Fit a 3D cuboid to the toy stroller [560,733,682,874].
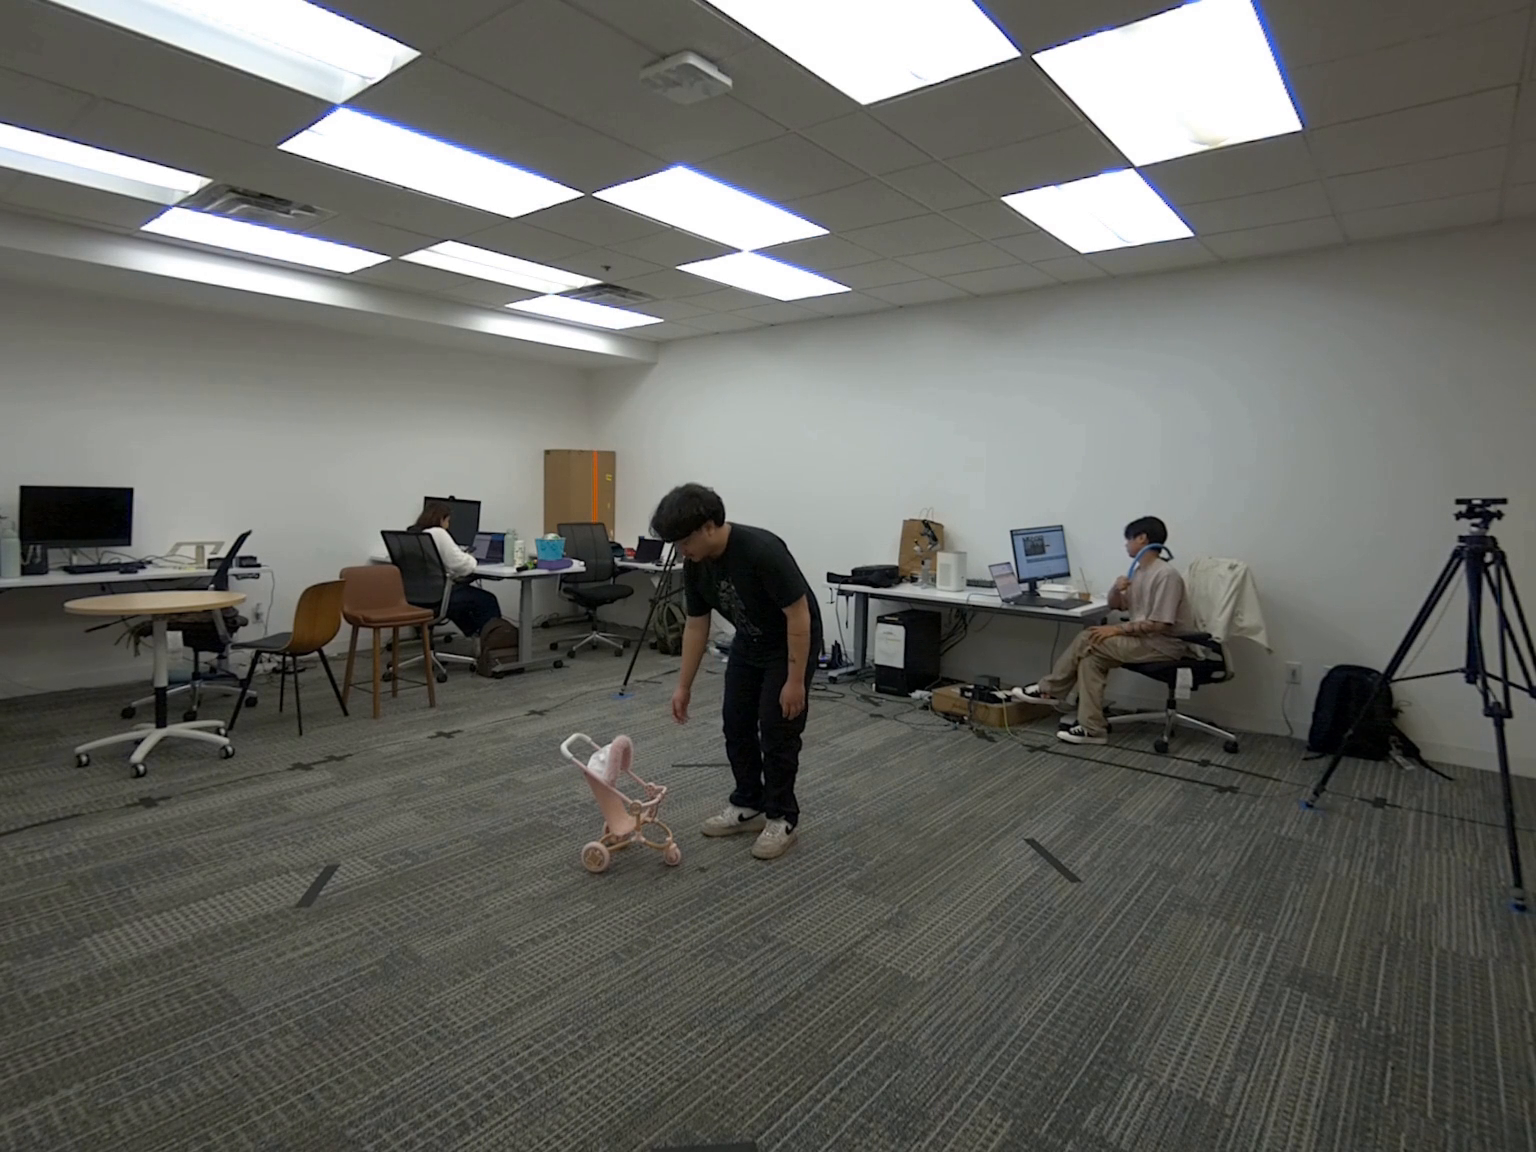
[{"bbox_3d":[-0.547,0.834,3.161,0.345,0.535,0.278,-13,0,15],"label":"toy stroller"}]
